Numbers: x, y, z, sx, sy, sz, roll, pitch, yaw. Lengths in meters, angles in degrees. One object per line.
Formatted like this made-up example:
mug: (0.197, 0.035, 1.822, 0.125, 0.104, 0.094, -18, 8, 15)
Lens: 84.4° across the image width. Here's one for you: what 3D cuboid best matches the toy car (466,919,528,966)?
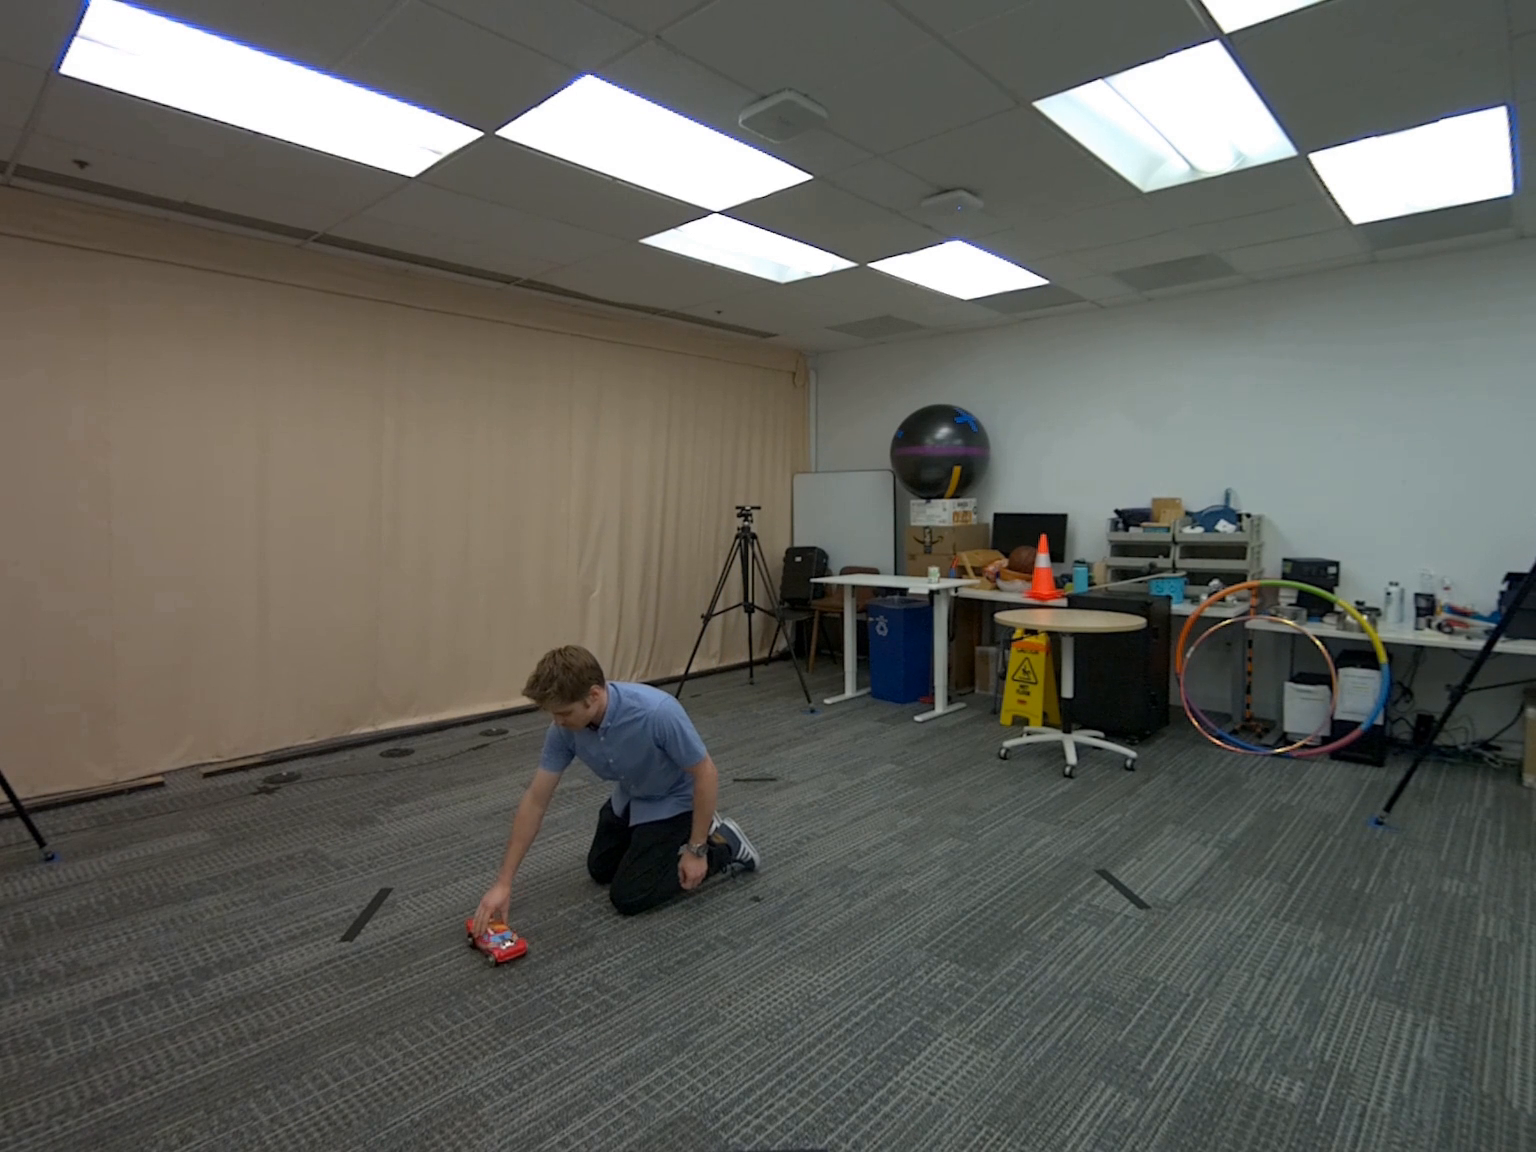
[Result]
toy car: (-0.863, 1.148, 2.656, 0.126, 0.083, 0.264, -5, 17, -42)
